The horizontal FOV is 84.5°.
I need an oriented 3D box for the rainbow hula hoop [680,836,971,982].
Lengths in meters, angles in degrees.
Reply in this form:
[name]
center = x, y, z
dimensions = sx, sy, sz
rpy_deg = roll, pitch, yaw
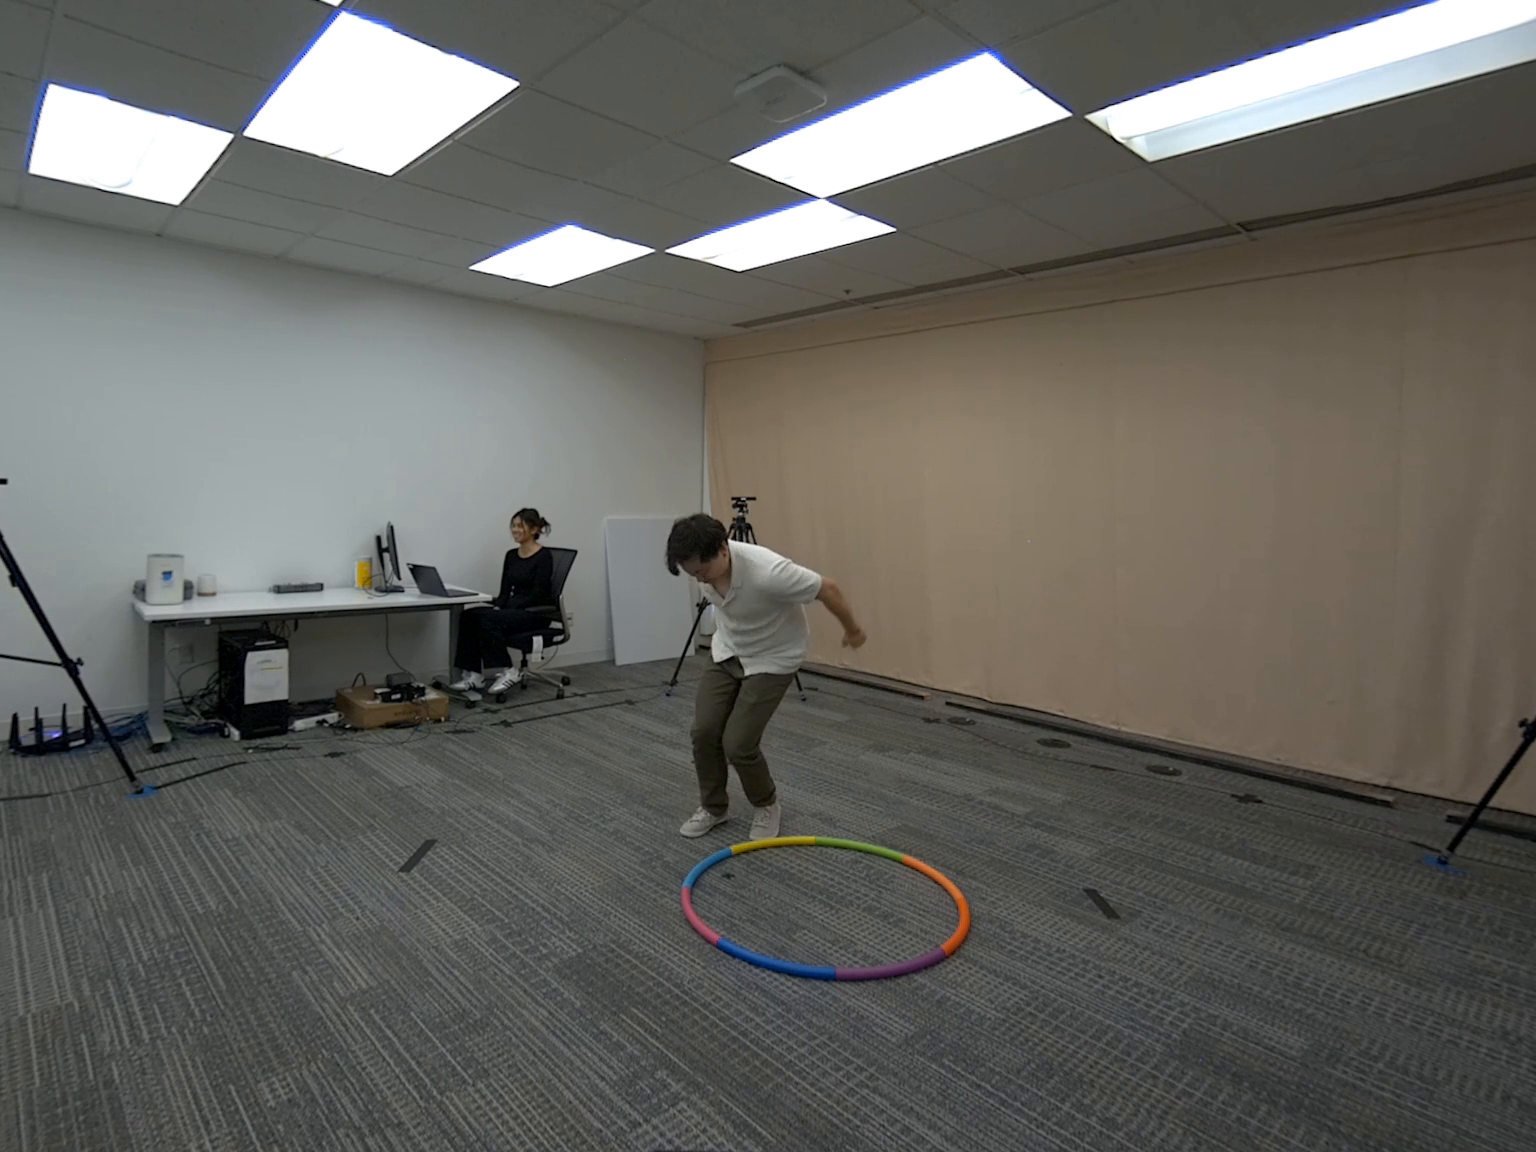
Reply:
[rainbow hula hoop]
center = 0.180, 1.103, 2.926
dimensions = 0.978, 0.035, 0.982
rpy_deg = 1, 5, -1
